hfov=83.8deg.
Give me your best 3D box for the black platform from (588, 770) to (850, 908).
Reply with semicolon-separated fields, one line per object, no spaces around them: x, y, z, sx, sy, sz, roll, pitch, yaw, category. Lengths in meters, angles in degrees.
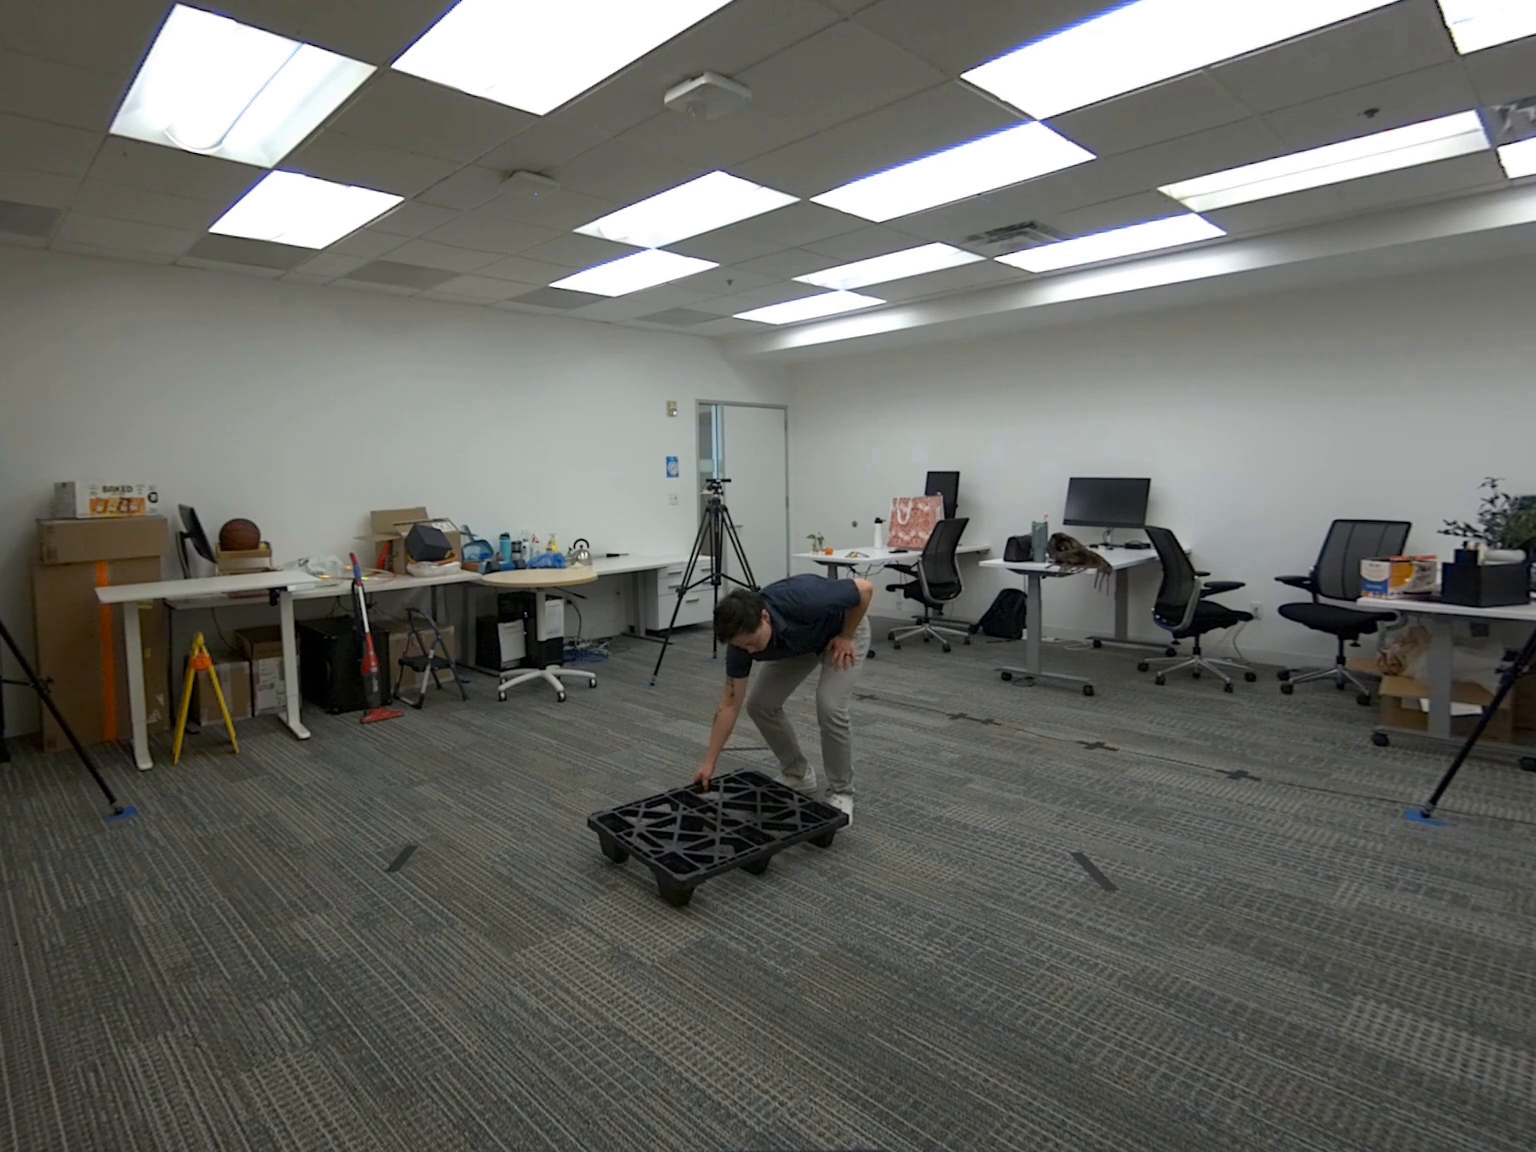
-0.189;0.956;3.191;0.785;0.142;0.625;-7;11;-41;black platform
